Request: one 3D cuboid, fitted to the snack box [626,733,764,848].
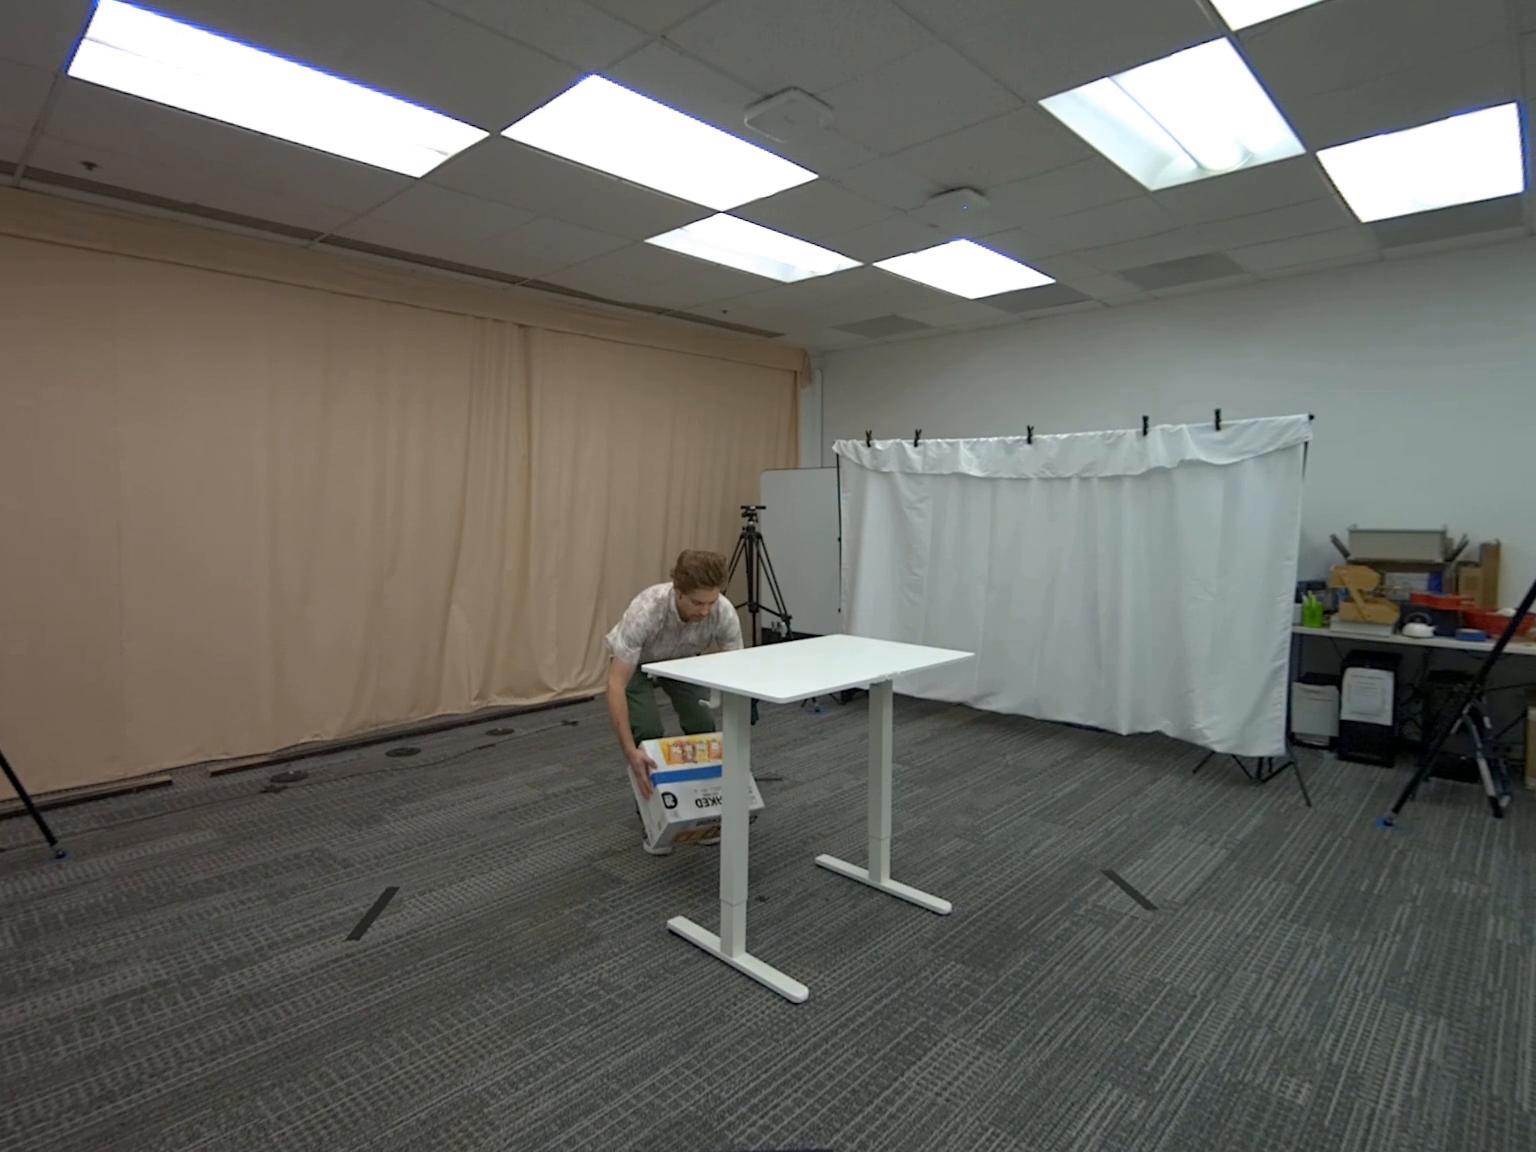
[{"bbox_3d":[-0.276,0.802,3.208,0.394,0.205,0.351,-1,45,-30],"label":"snack box"}]
